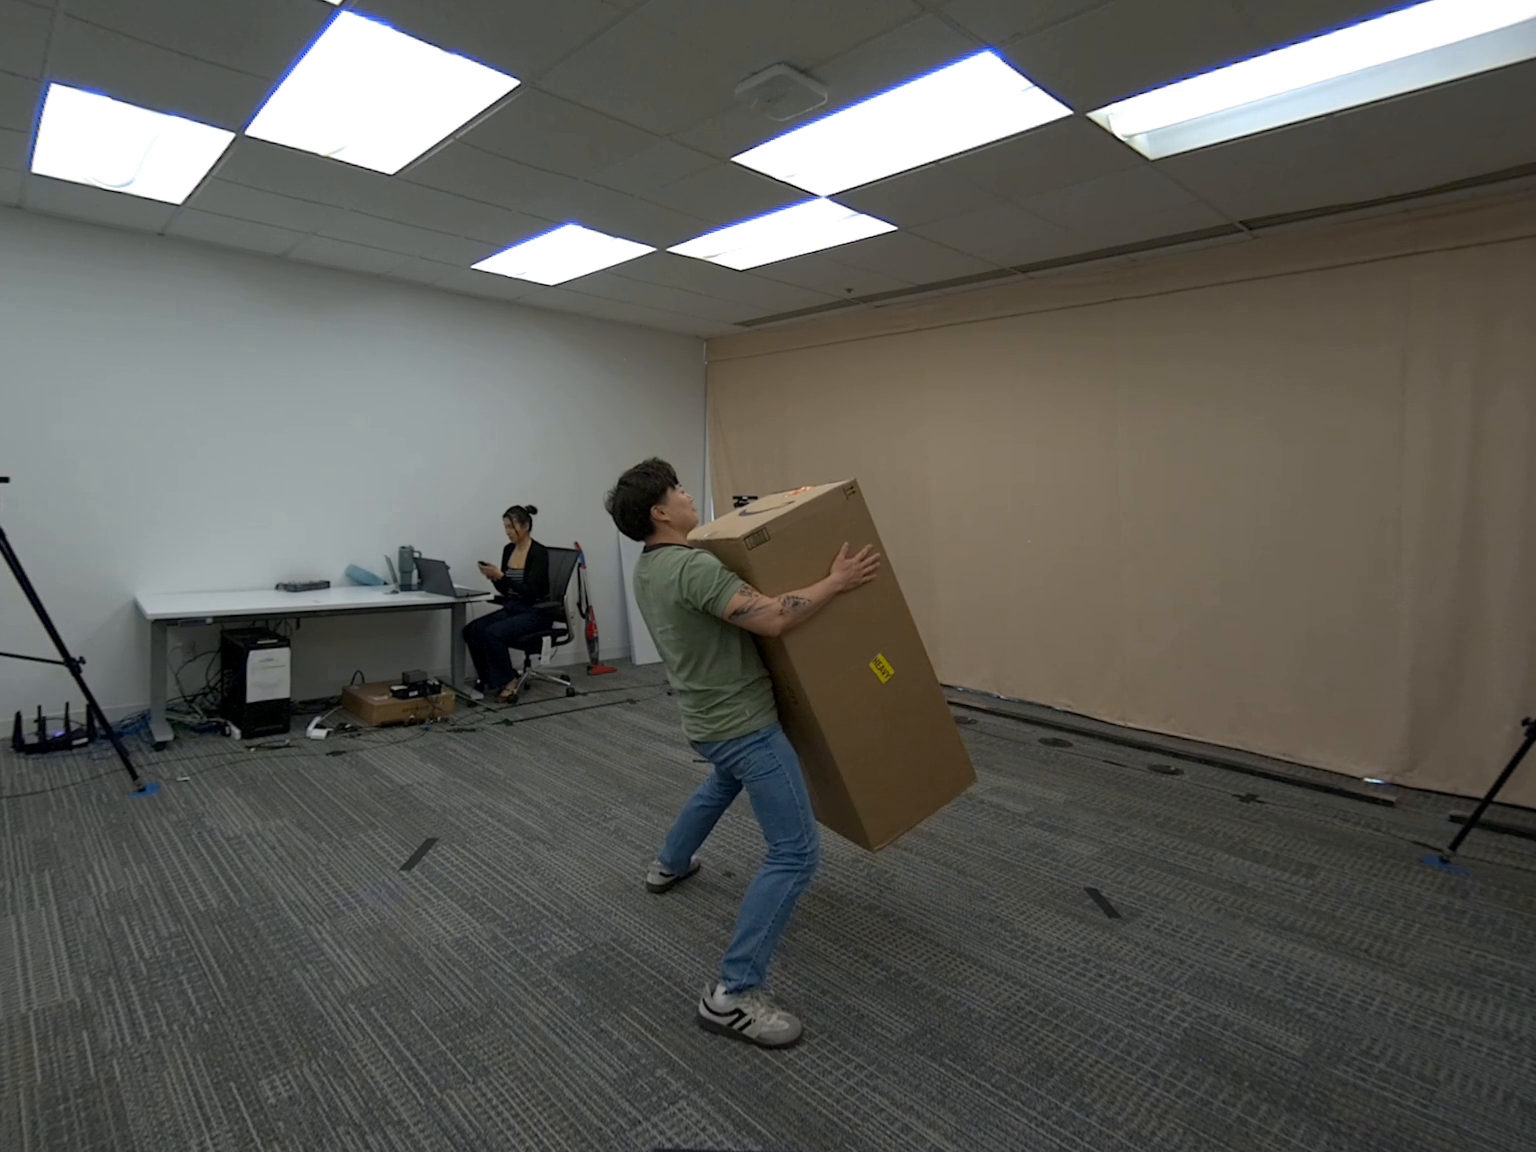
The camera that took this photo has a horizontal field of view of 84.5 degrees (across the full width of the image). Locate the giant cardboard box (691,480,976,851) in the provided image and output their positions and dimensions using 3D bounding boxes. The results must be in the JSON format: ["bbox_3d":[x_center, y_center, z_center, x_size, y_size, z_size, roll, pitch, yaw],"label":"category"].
[{"bbox_3d":[0.167,0.261,2.736,0.423,1.017,0.587,-26,9,-22],"label":"giant cardboard box"}]
